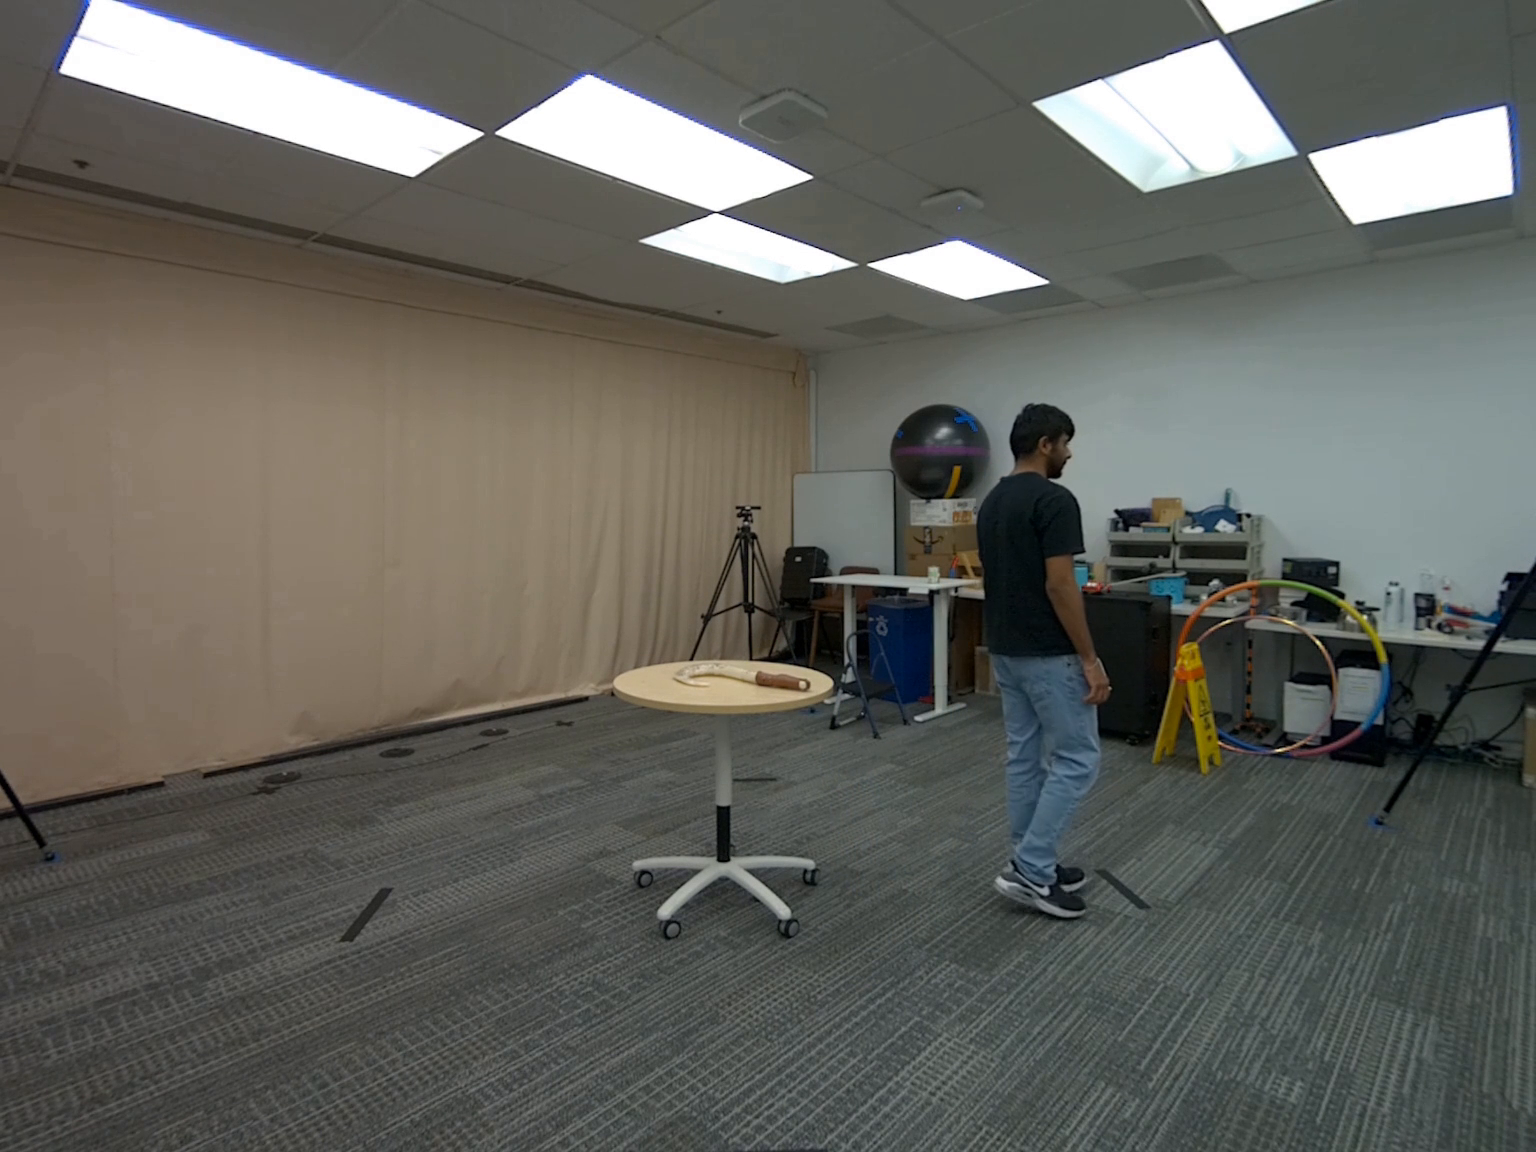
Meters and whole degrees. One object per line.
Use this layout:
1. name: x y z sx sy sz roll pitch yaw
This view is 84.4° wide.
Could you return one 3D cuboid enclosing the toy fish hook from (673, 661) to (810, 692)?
1. toy fish hook: -0.094 0.364 2.867 0.522 0.048 0.219 1 12 35
